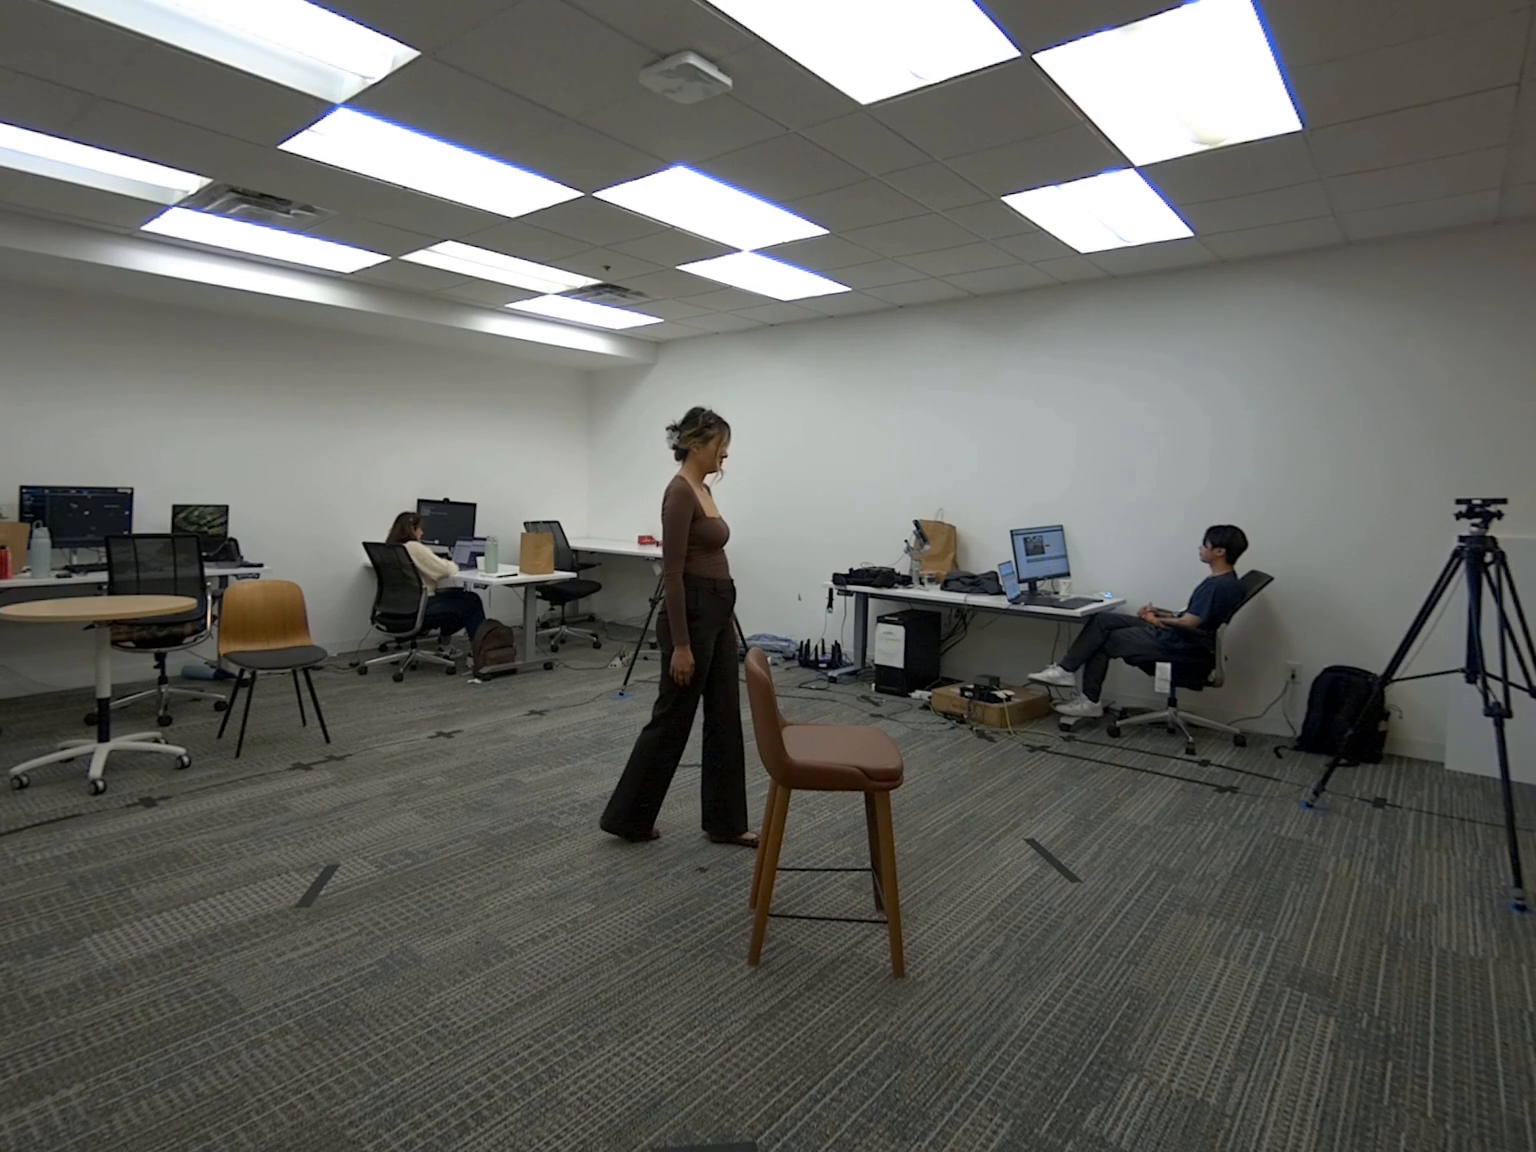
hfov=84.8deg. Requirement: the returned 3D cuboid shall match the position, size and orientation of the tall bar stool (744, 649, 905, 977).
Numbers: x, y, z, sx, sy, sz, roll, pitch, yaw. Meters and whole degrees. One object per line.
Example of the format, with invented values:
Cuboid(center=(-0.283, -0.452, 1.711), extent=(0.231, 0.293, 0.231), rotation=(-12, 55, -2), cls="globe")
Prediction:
Cuboid(center=(0.167, 0.688, 2.636), extent=(0.469, 0.887, 0.457), rotation=(0, 3, 2), cls="tall bar stool")
